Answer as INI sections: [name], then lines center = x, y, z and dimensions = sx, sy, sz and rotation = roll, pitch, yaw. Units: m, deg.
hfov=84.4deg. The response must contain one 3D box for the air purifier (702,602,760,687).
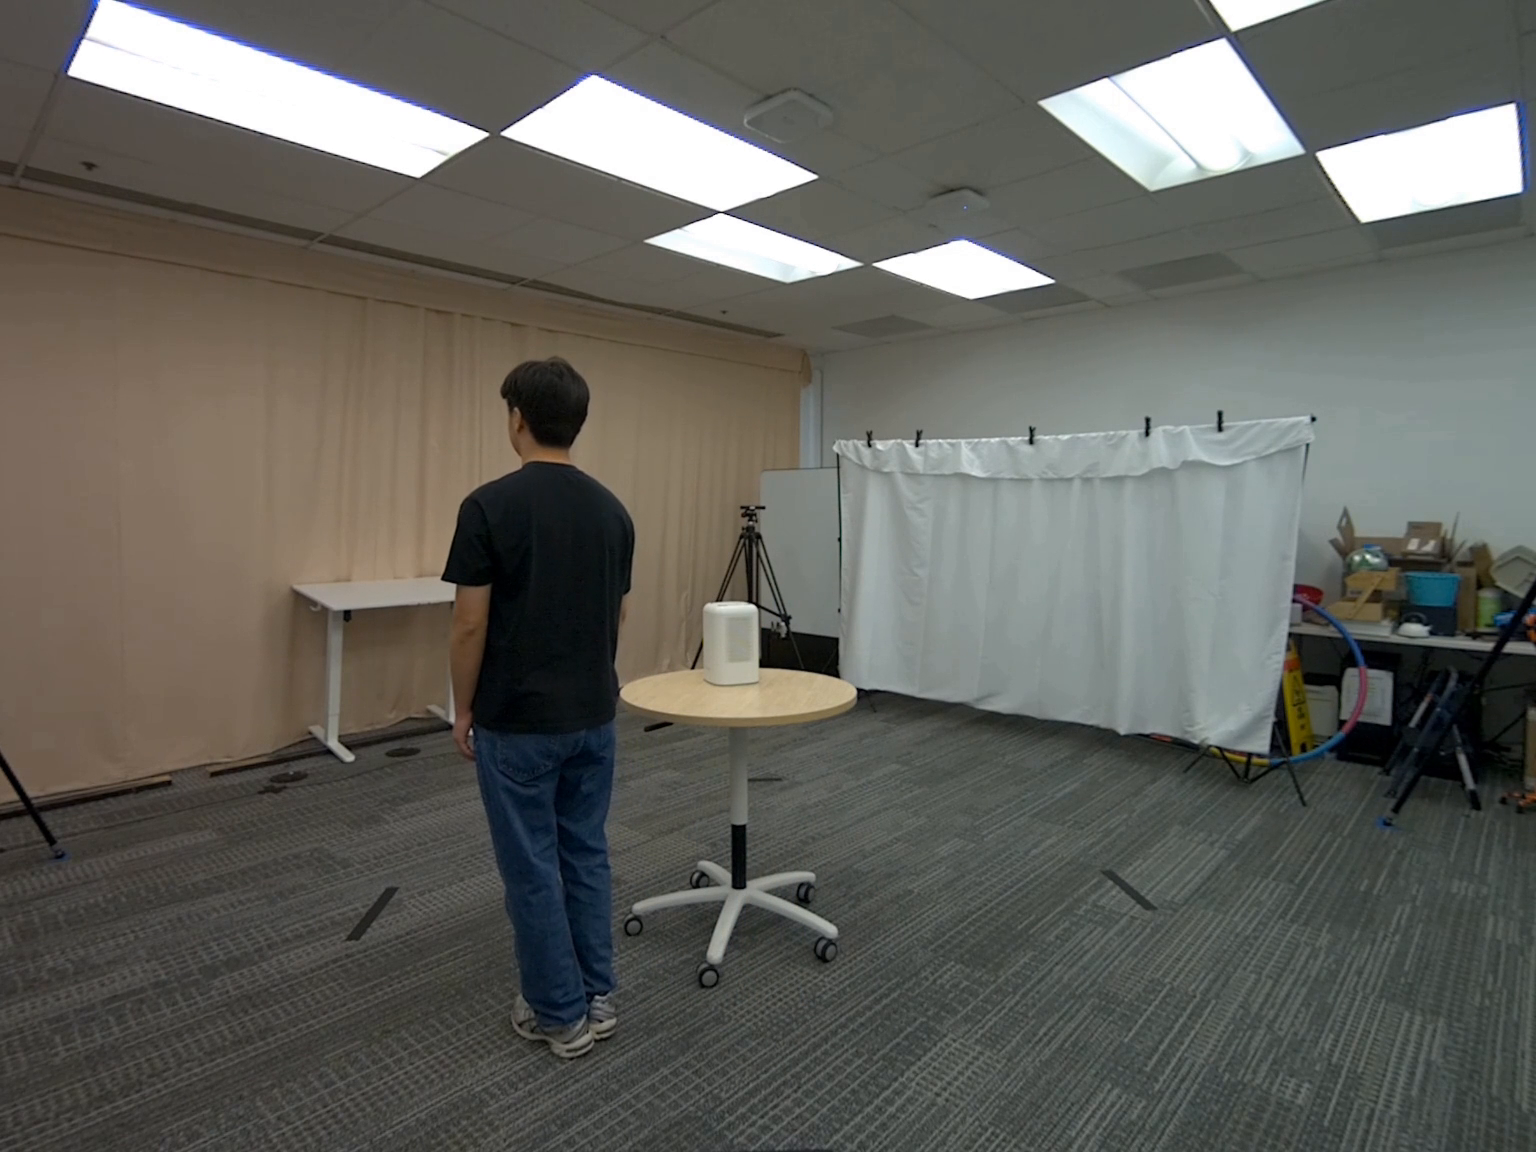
[air purifier]
center = -0.124, 0.227, 2.876
dimensions = 0.168, 0.265, 0.175
rotation = -2, 3, -20
